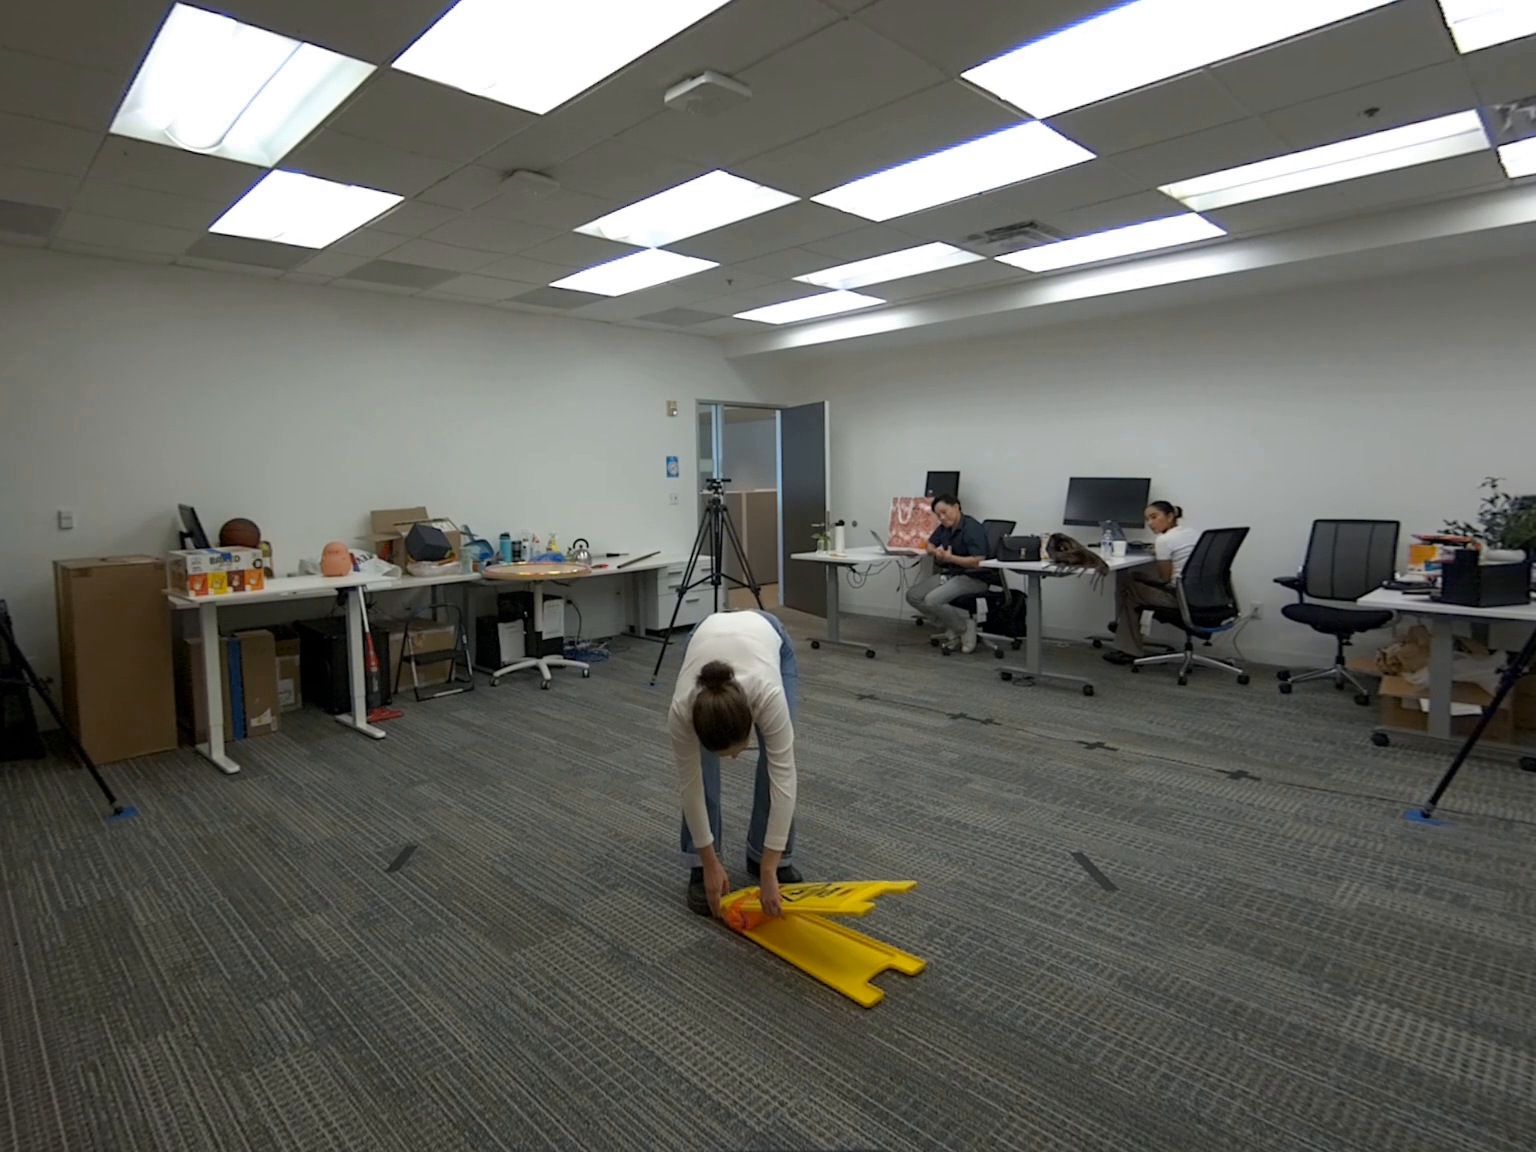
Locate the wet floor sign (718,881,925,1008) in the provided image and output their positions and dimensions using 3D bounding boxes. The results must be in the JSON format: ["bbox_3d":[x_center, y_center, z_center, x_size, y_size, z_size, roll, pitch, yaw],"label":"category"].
[{"bbox_3d":[0.121,1.034,2.568,0.274,0.291,0.661,-3,-4,-45],"label":"wet floor sign"}]
